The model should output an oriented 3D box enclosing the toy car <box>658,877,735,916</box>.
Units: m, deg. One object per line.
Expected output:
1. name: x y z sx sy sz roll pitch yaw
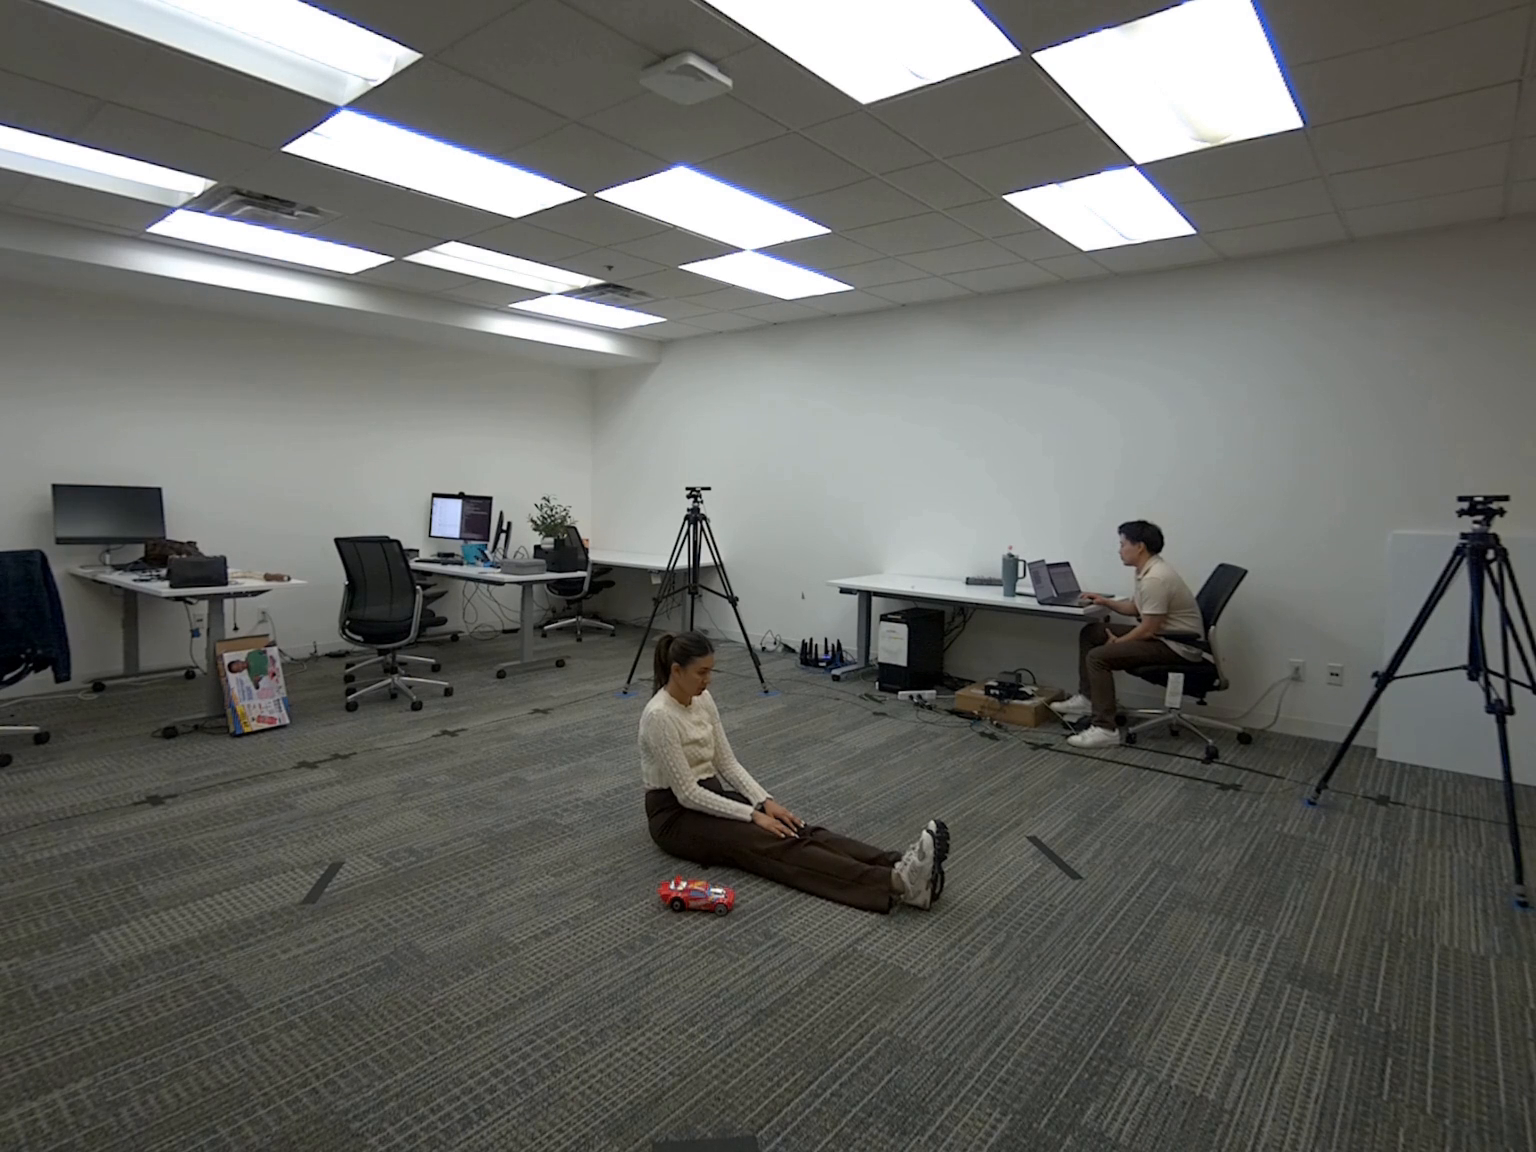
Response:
1. toy car: -0.258 1.059 2.825 0.257 0.083 0.129 13 6 7
